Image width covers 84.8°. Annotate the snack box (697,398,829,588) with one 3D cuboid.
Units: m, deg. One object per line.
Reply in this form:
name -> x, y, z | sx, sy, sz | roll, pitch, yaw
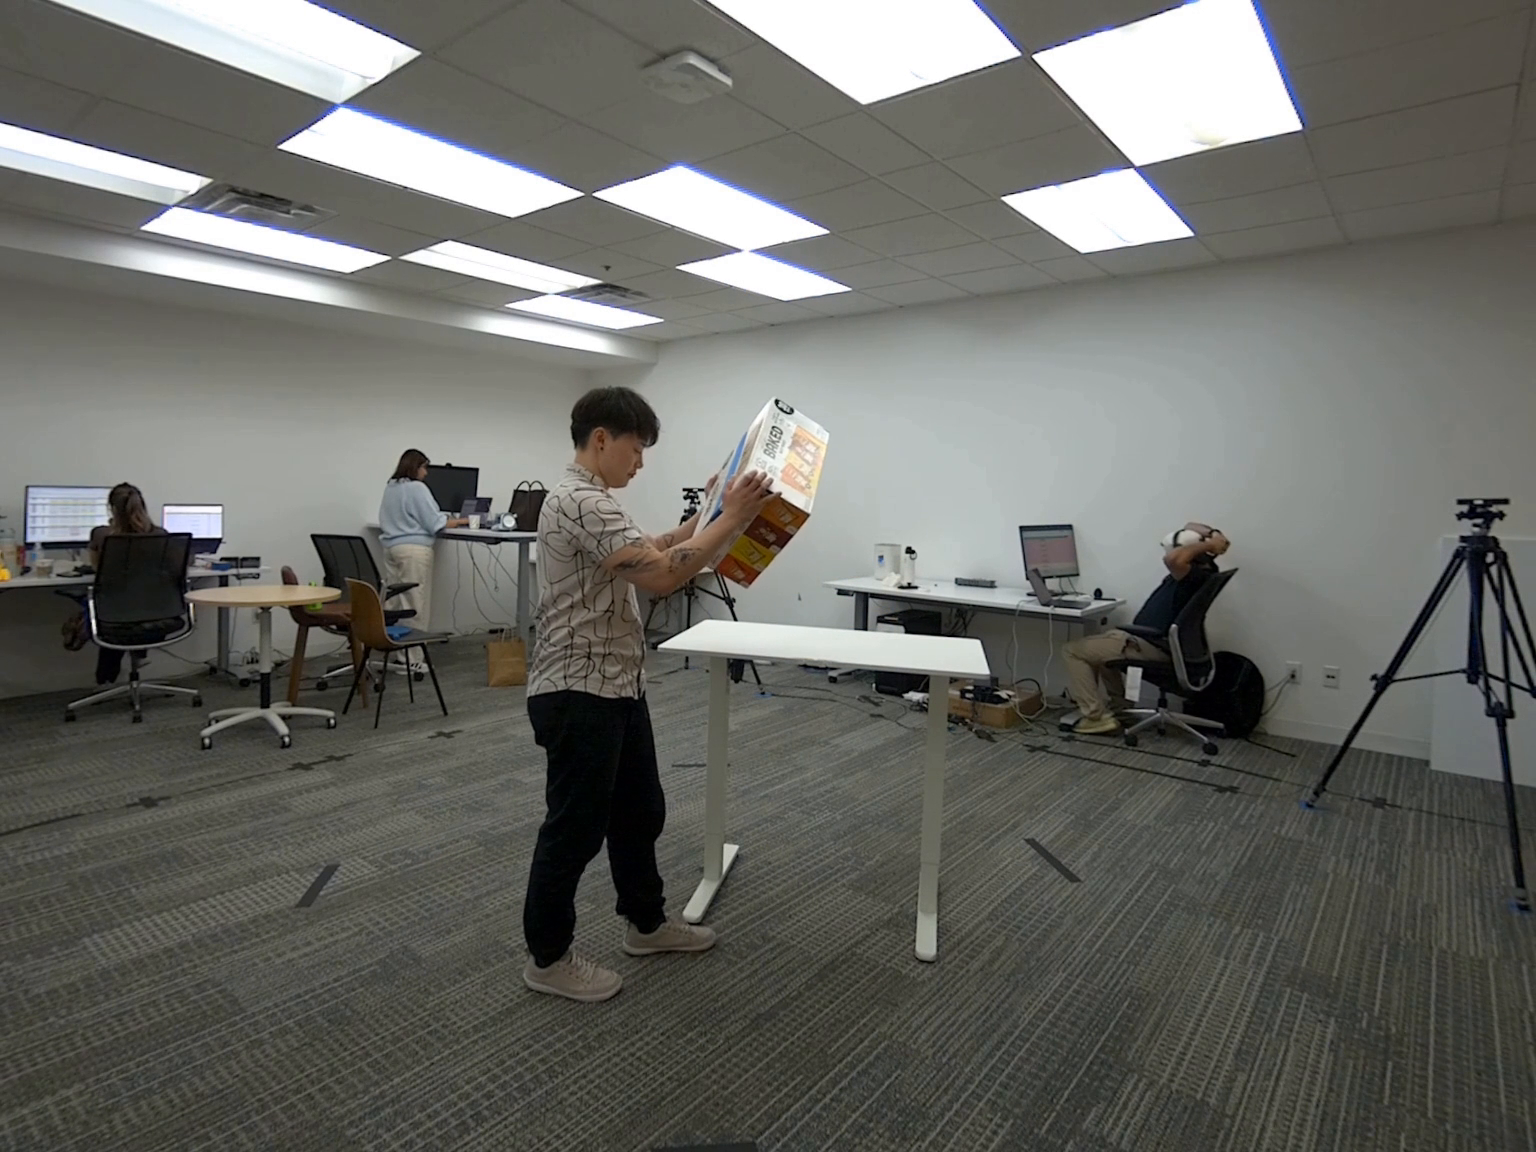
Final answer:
snack box -> -0.027, -0.239, 2.412 | 0.203, 0.340, 0.412 | 31, 40, -12
